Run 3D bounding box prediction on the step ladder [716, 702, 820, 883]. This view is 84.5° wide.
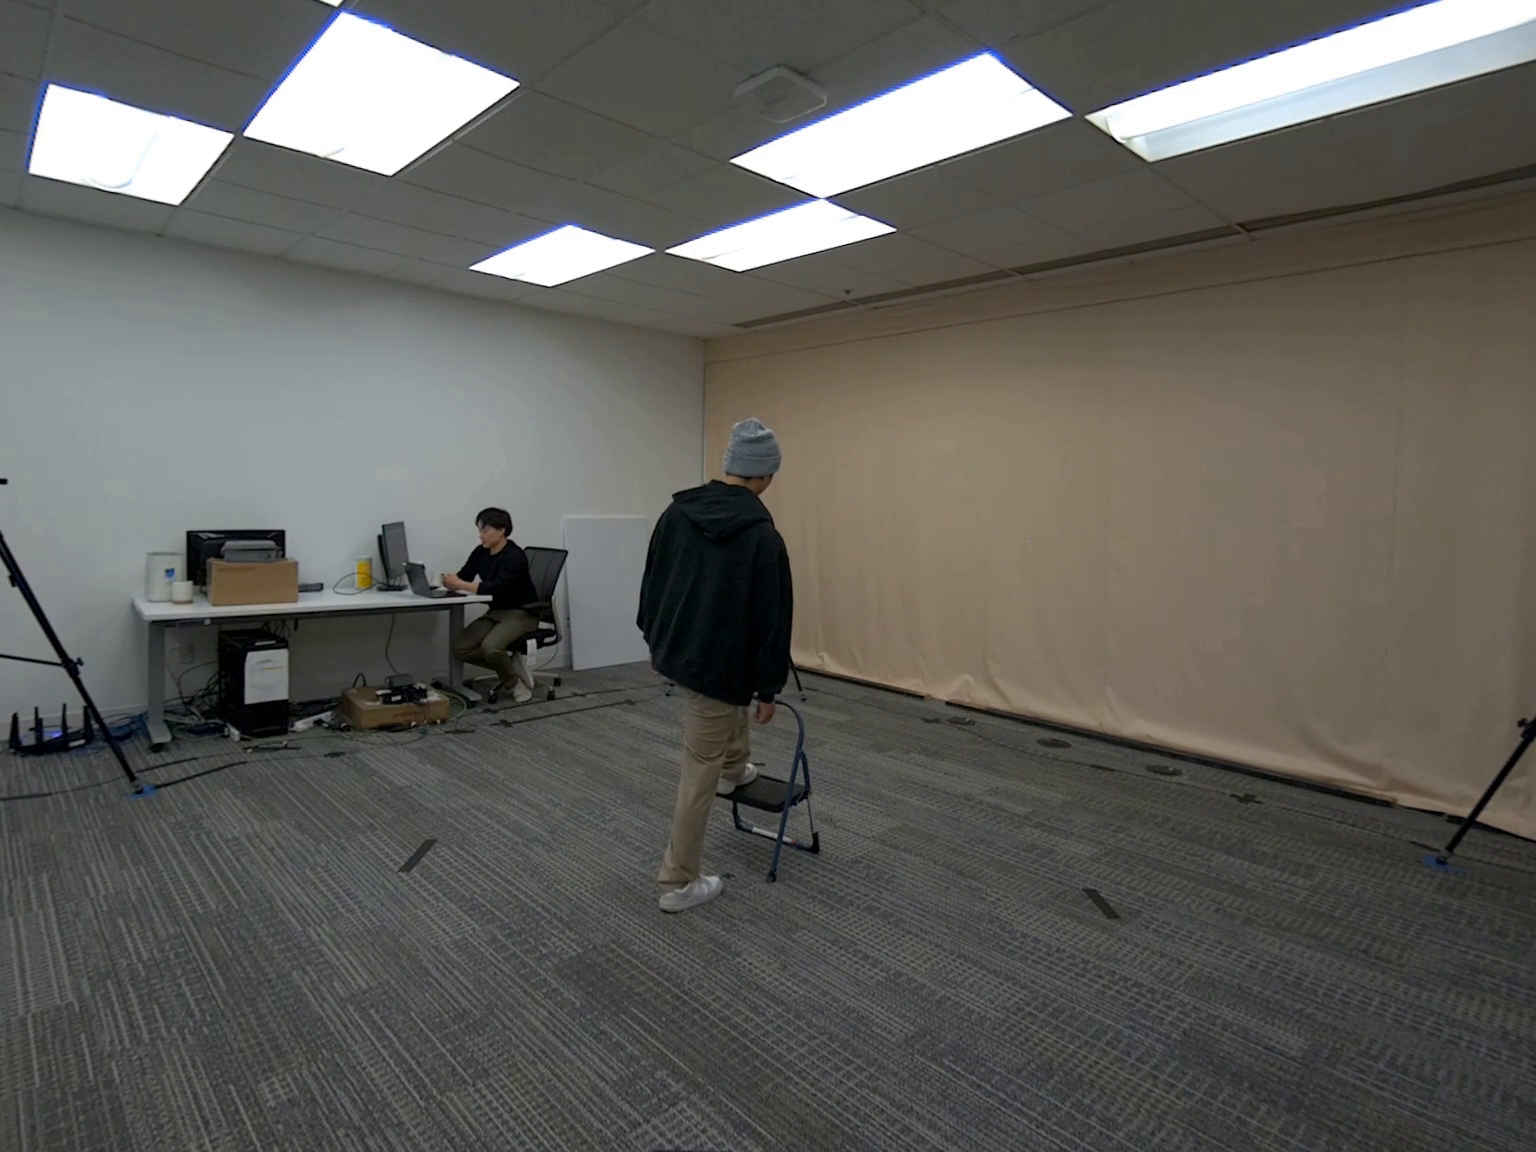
[{"bbox_3d":[-0.054,0.789,3.307,0.441,0.605,0.341,4,4,36],"label":"step ladder"}]
